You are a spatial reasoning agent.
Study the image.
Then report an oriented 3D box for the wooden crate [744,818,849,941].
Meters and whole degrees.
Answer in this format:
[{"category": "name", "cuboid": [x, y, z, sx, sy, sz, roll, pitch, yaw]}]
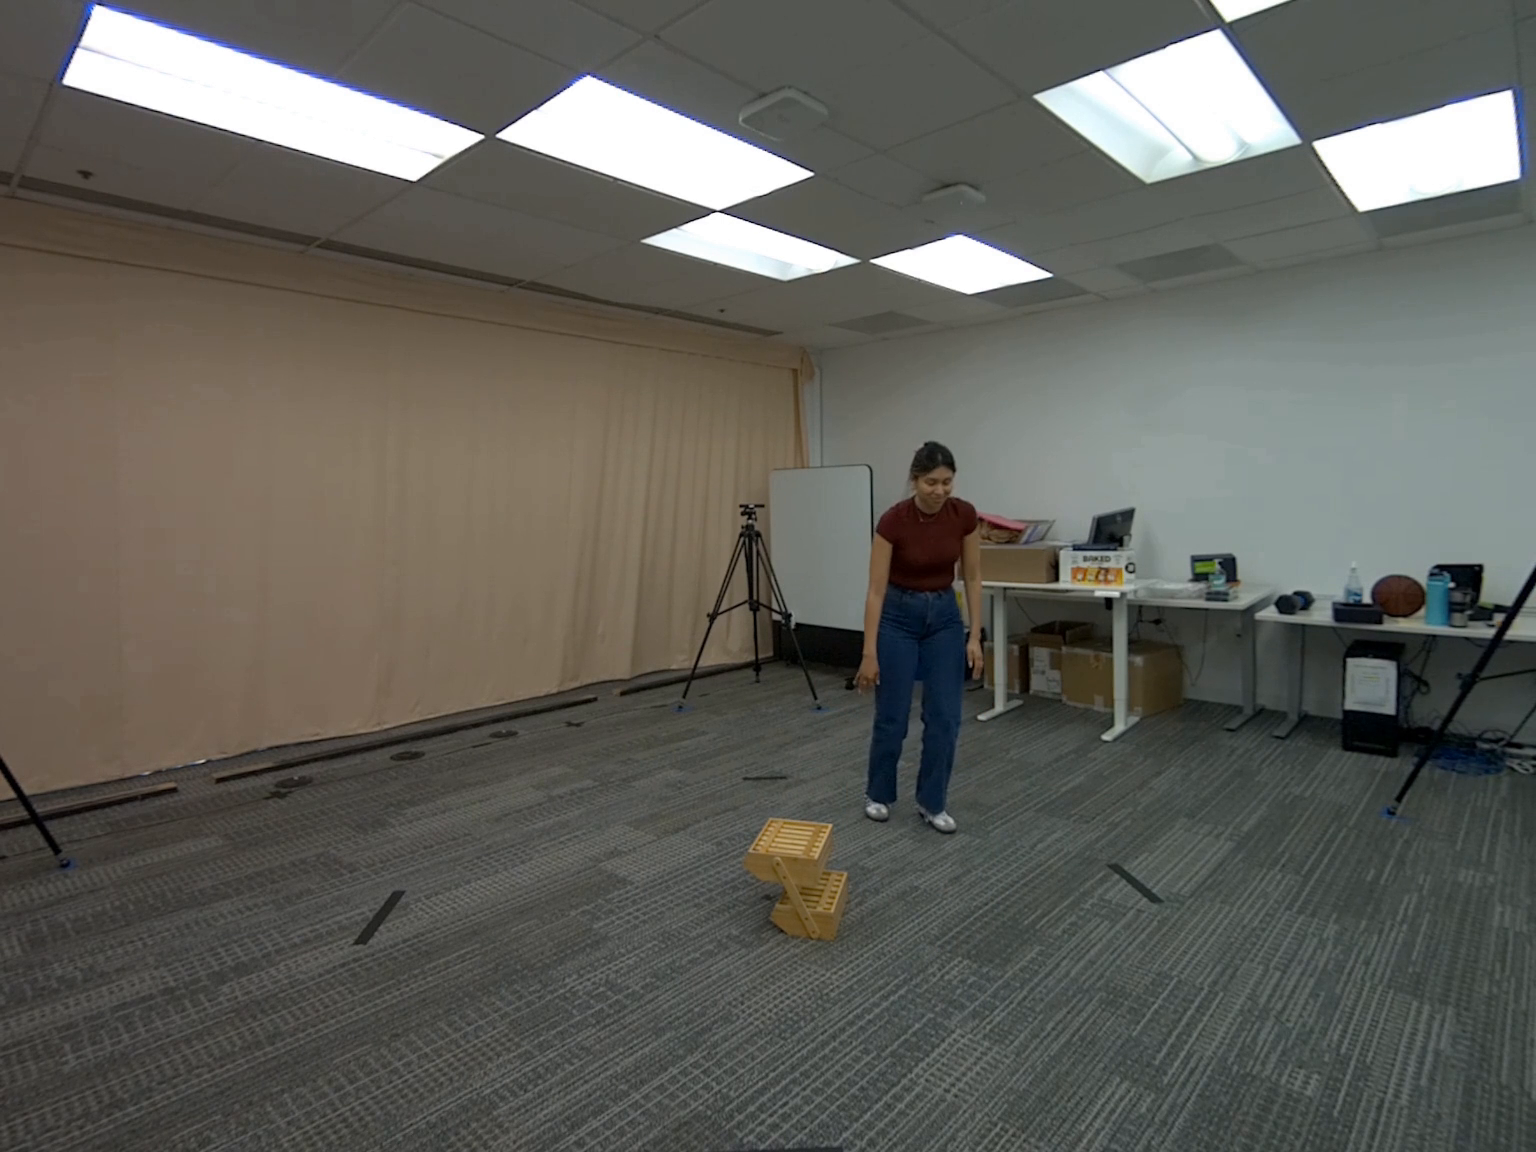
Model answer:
[{"category": "wooden crate", "cuboid": [0.103, 1.020, 2.857, 0.307, 0.272, 0.320, -1, 4, 15]}]
